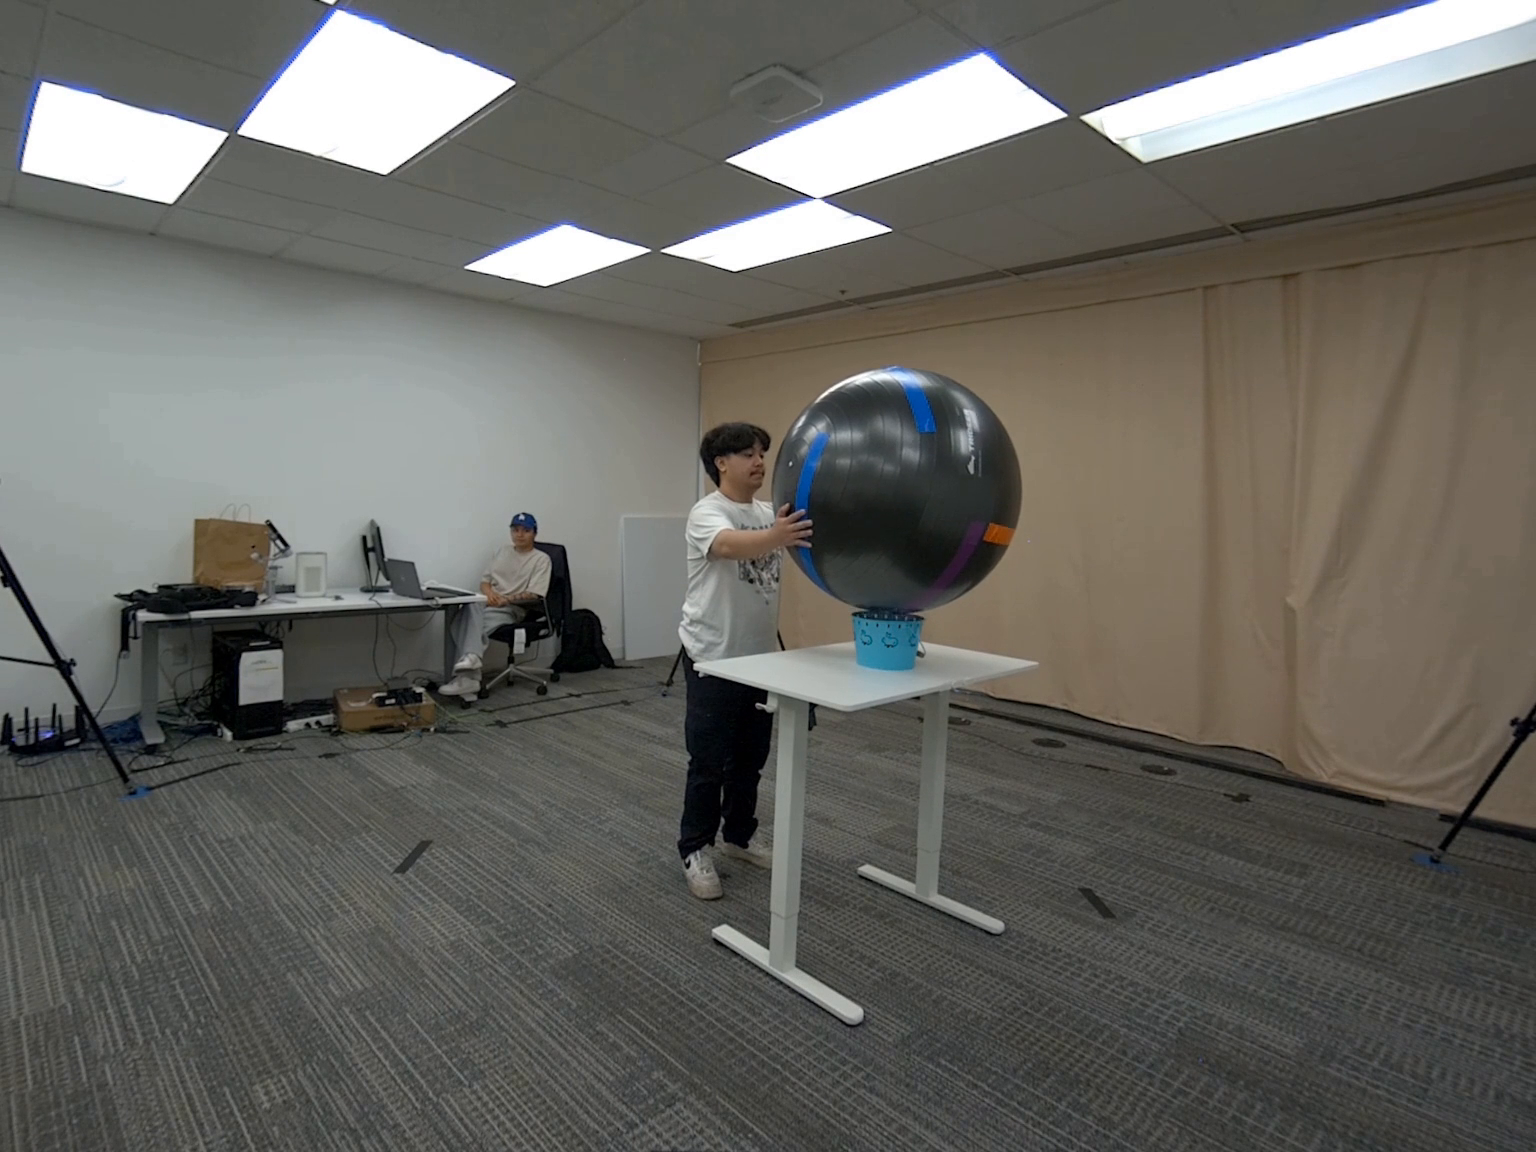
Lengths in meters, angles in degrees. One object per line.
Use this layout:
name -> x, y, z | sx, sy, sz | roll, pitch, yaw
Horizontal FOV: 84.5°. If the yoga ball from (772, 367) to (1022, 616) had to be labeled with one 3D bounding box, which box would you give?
yoga ball -> 0.391, -0.255, 2.614 | 0.757, 0.756, 0.761 | 1, 4, -1
